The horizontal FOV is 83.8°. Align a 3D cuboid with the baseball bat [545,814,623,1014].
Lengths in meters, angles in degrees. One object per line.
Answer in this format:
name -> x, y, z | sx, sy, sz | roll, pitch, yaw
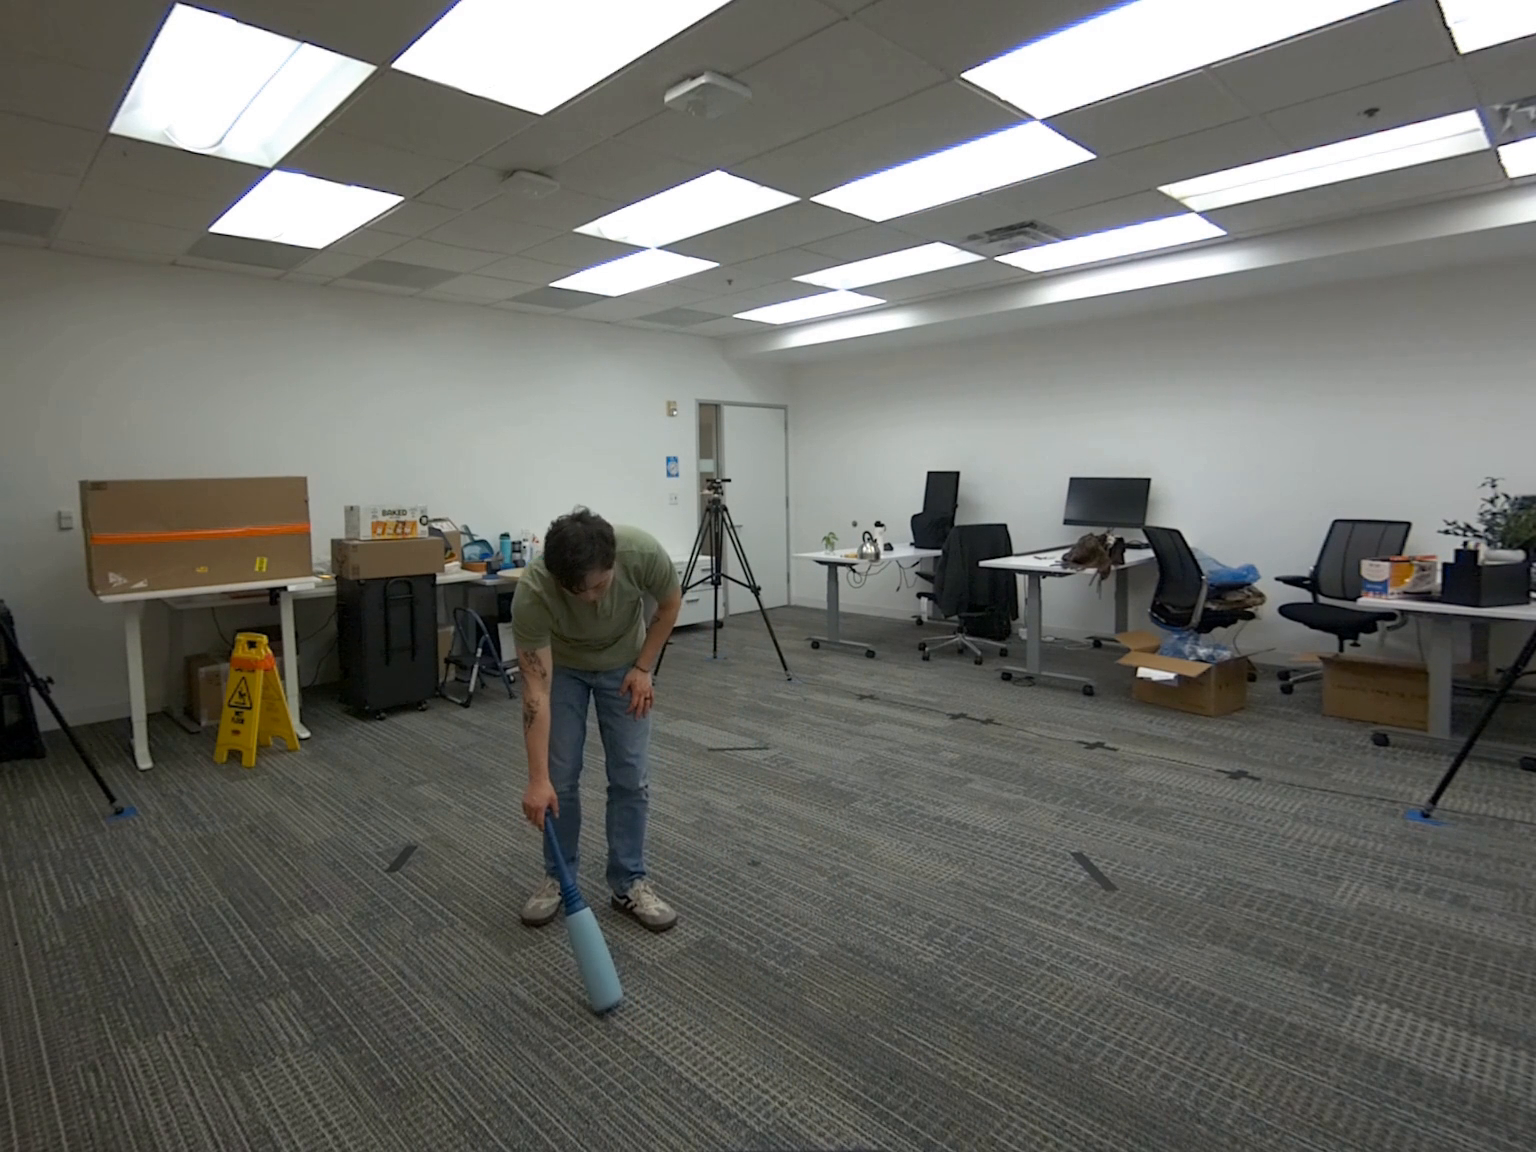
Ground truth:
baseball bat -> -0.528, 0.904, 2.340 | 0.088, 0.555, 0.087 | -22, -18, -9
